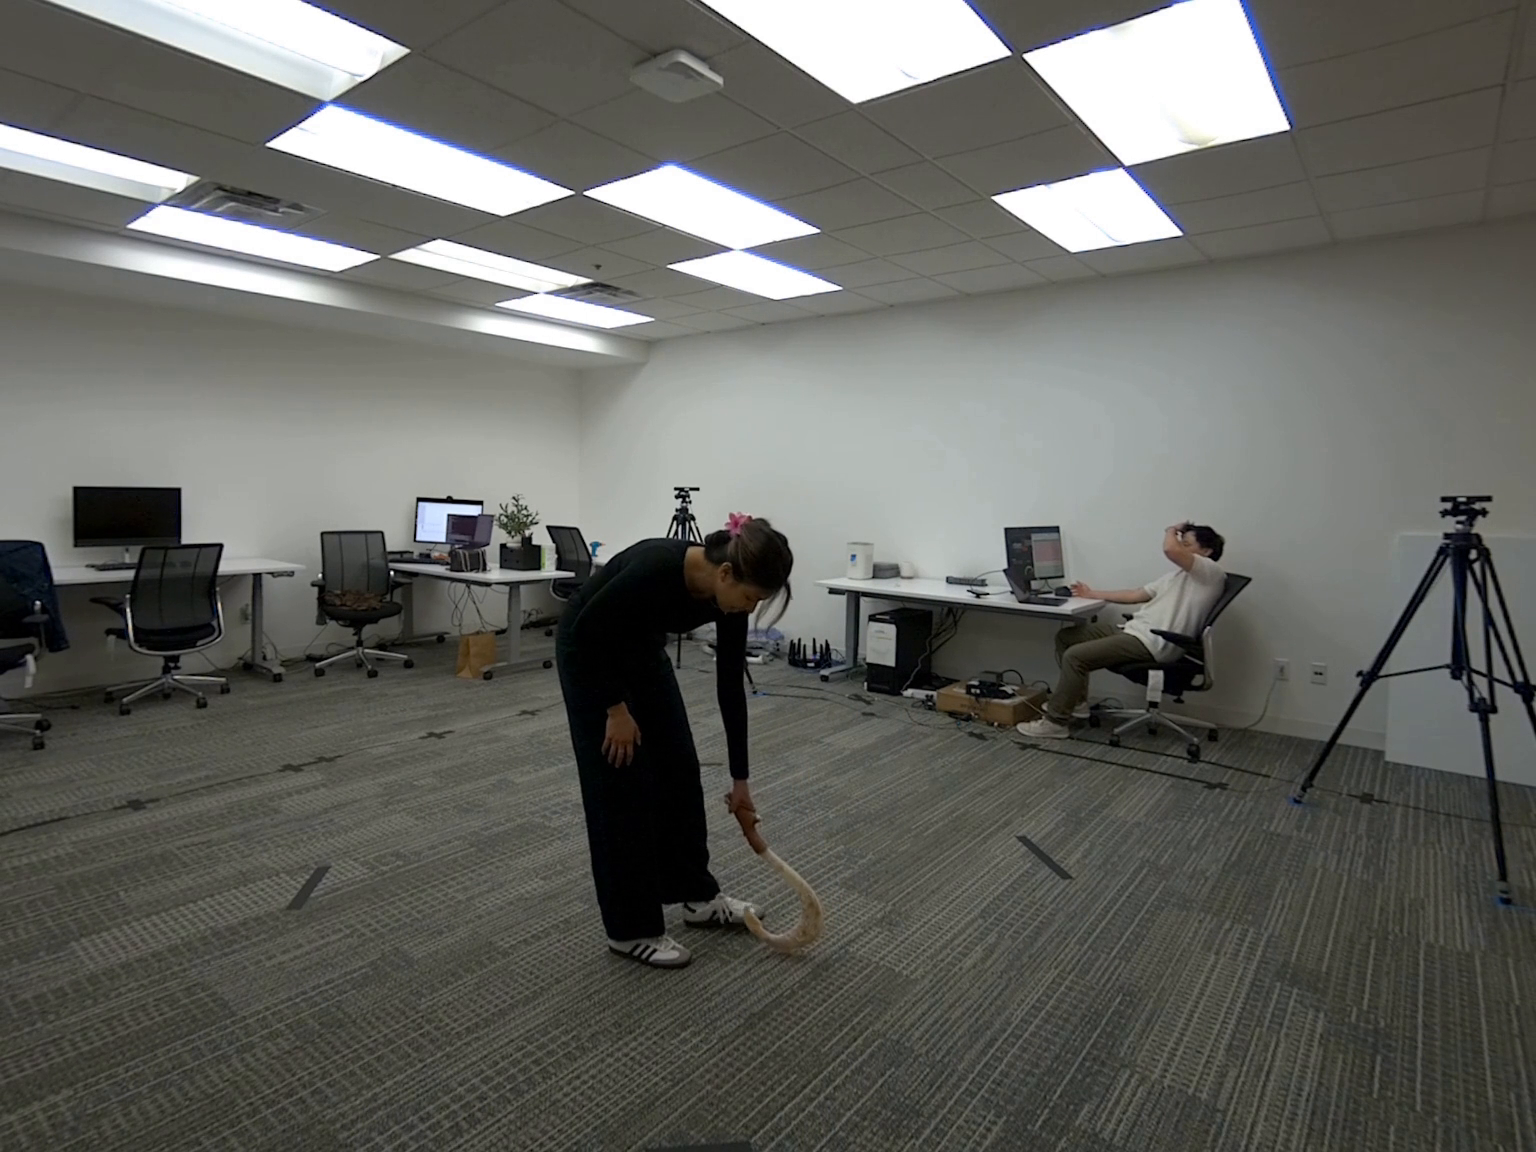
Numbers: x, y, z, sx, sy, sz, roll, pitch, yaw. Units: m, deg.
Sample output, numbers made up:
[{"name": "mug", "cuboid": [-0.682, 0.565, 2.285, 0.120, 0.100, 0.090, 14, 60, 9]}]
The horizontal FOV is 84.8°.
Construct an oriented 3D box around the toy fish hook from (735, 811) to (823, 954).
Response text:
[{"name": "toy fish hook", "cuboid": [-0.033, 0.895, 2.546, 0.224, 0.509, 0.048, -31, -3, -2]}]
